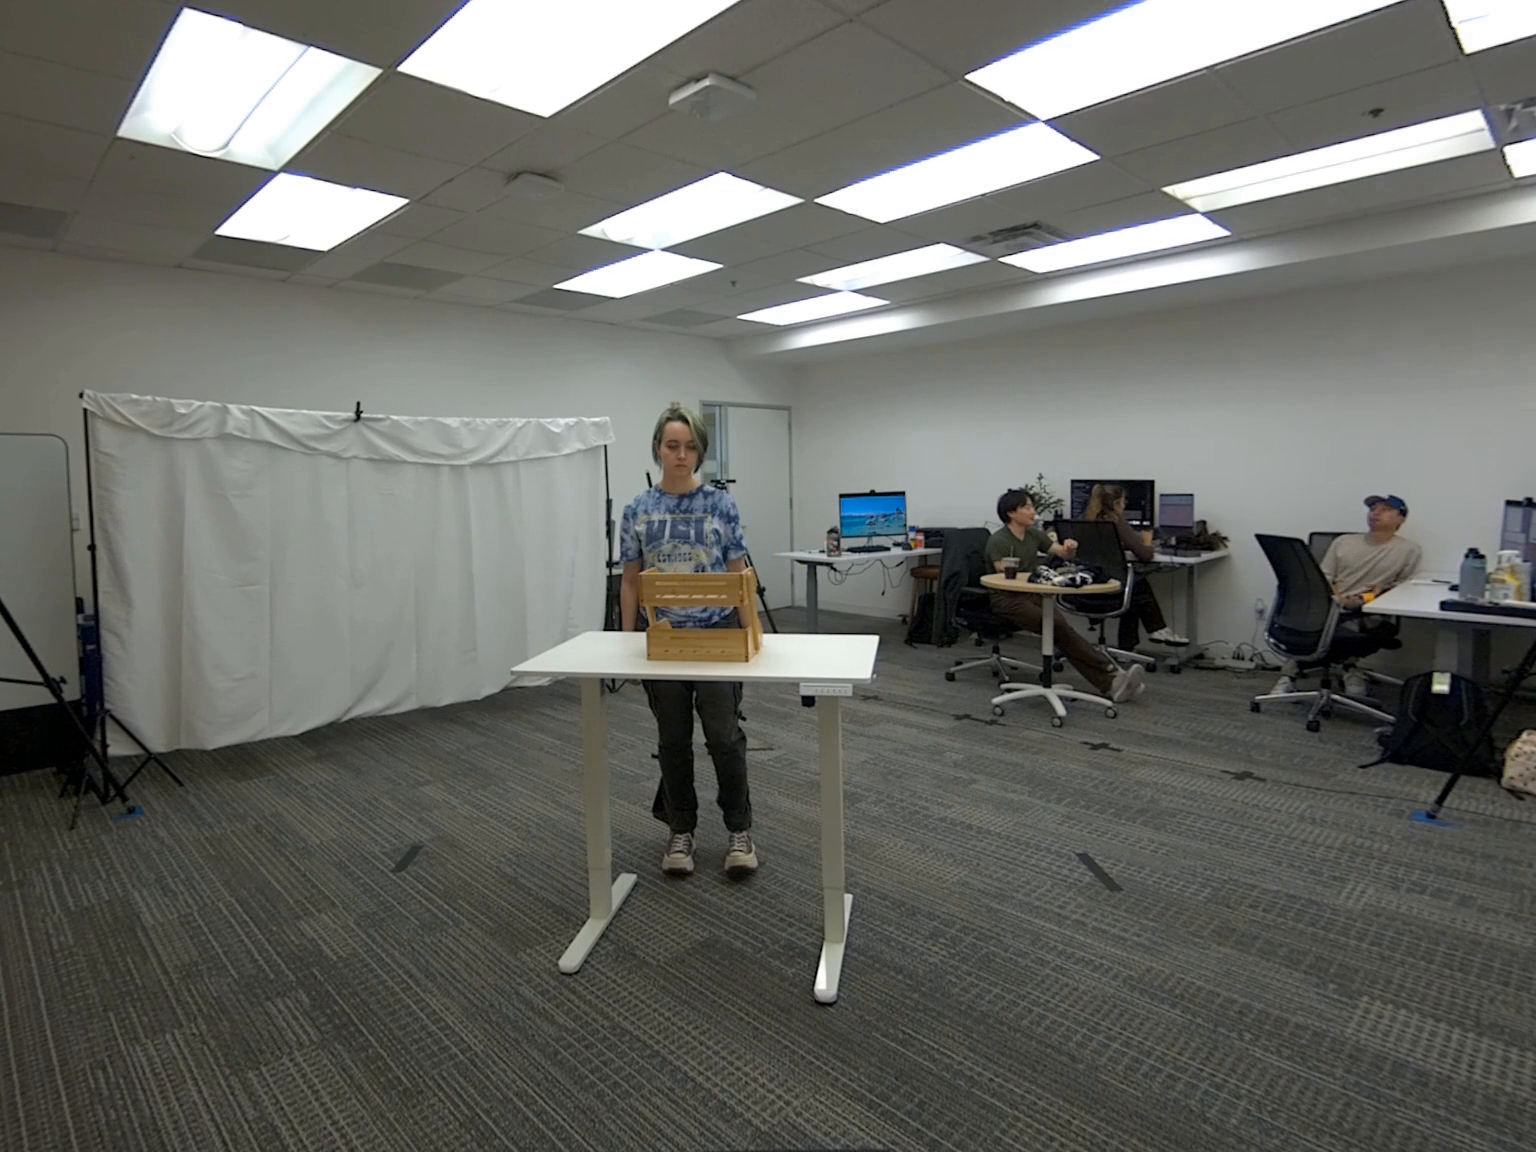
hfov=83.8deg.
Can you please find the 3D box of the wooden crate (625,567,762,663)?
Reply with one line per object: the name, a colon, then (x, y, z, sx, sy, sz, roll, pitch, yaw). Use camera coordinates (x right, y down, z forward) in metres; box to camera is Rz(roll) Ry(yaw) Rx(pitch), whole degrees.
wooden crate: (-0.191, 0.105, 2.532, 0.328, 0.272, 0.300, -1, 6, 11)
